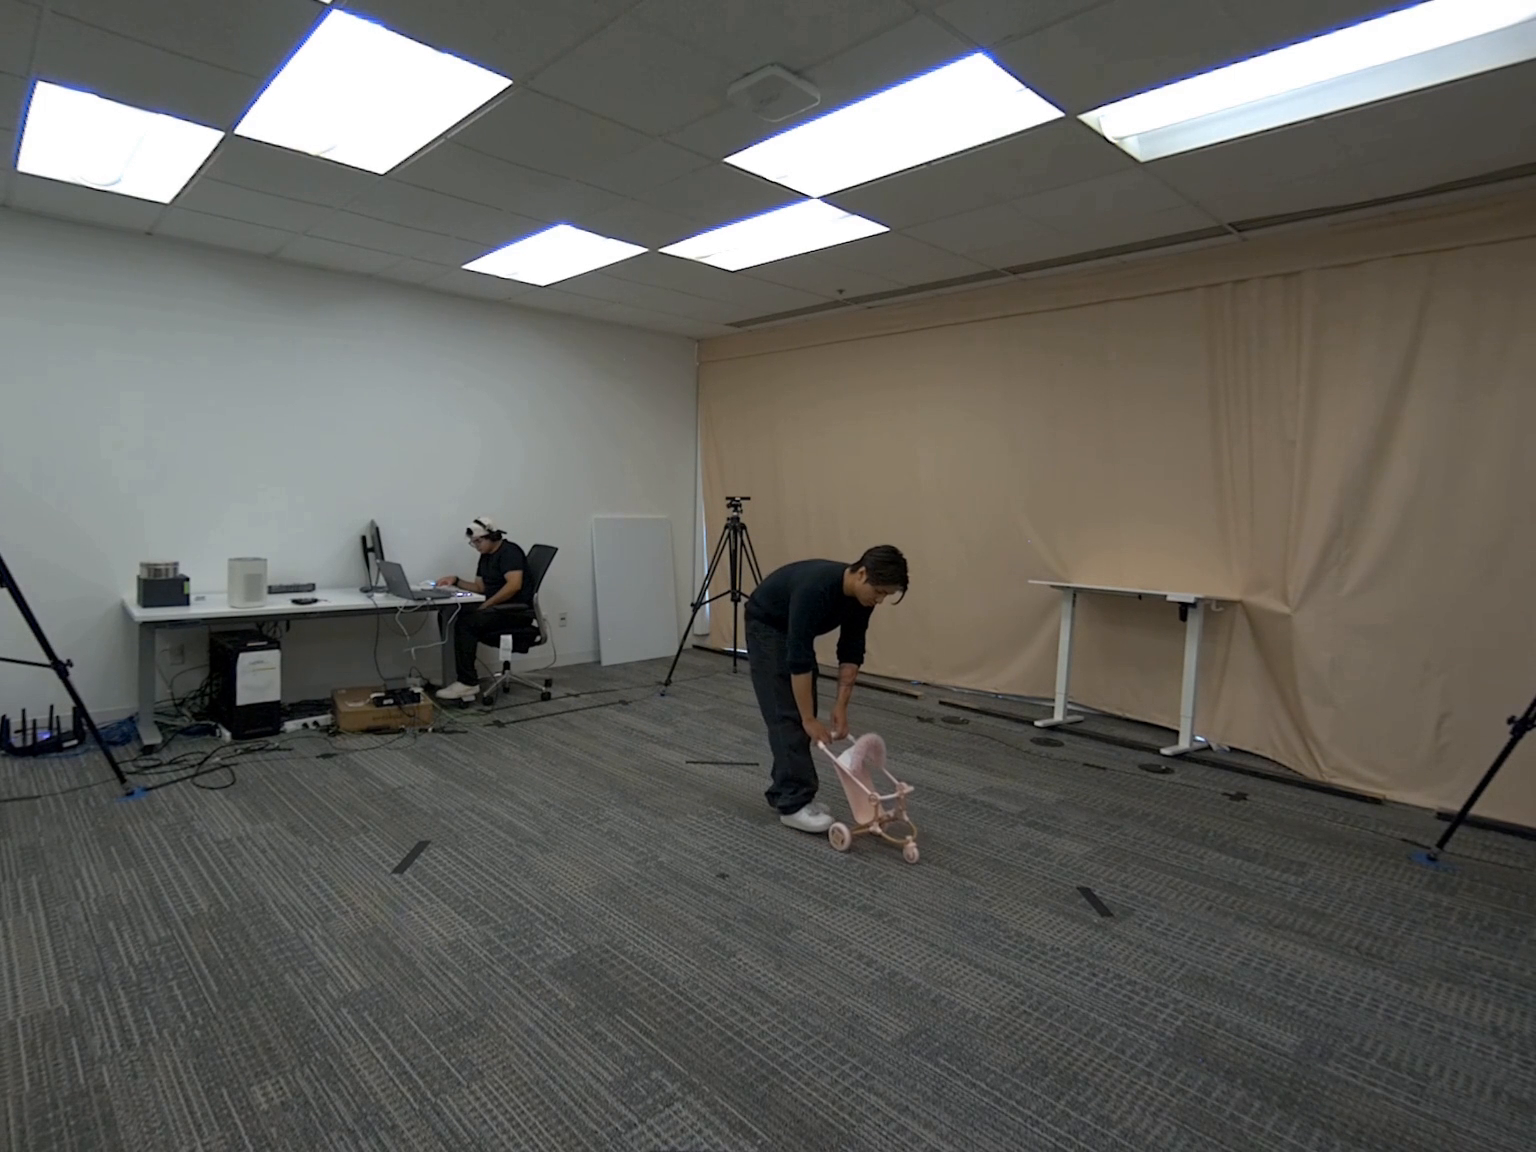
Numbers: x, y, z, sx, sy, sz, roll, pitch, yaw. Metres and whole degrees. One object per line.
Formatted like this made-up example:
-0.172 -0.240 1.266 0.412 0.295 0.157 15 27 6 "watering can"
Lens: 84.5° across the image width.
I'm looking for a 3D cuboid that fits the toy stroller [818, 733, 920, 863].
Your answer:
0.412 0.875 3.387 0.275 0.540 0.346 -2 -13 -41 "toy stroller"
